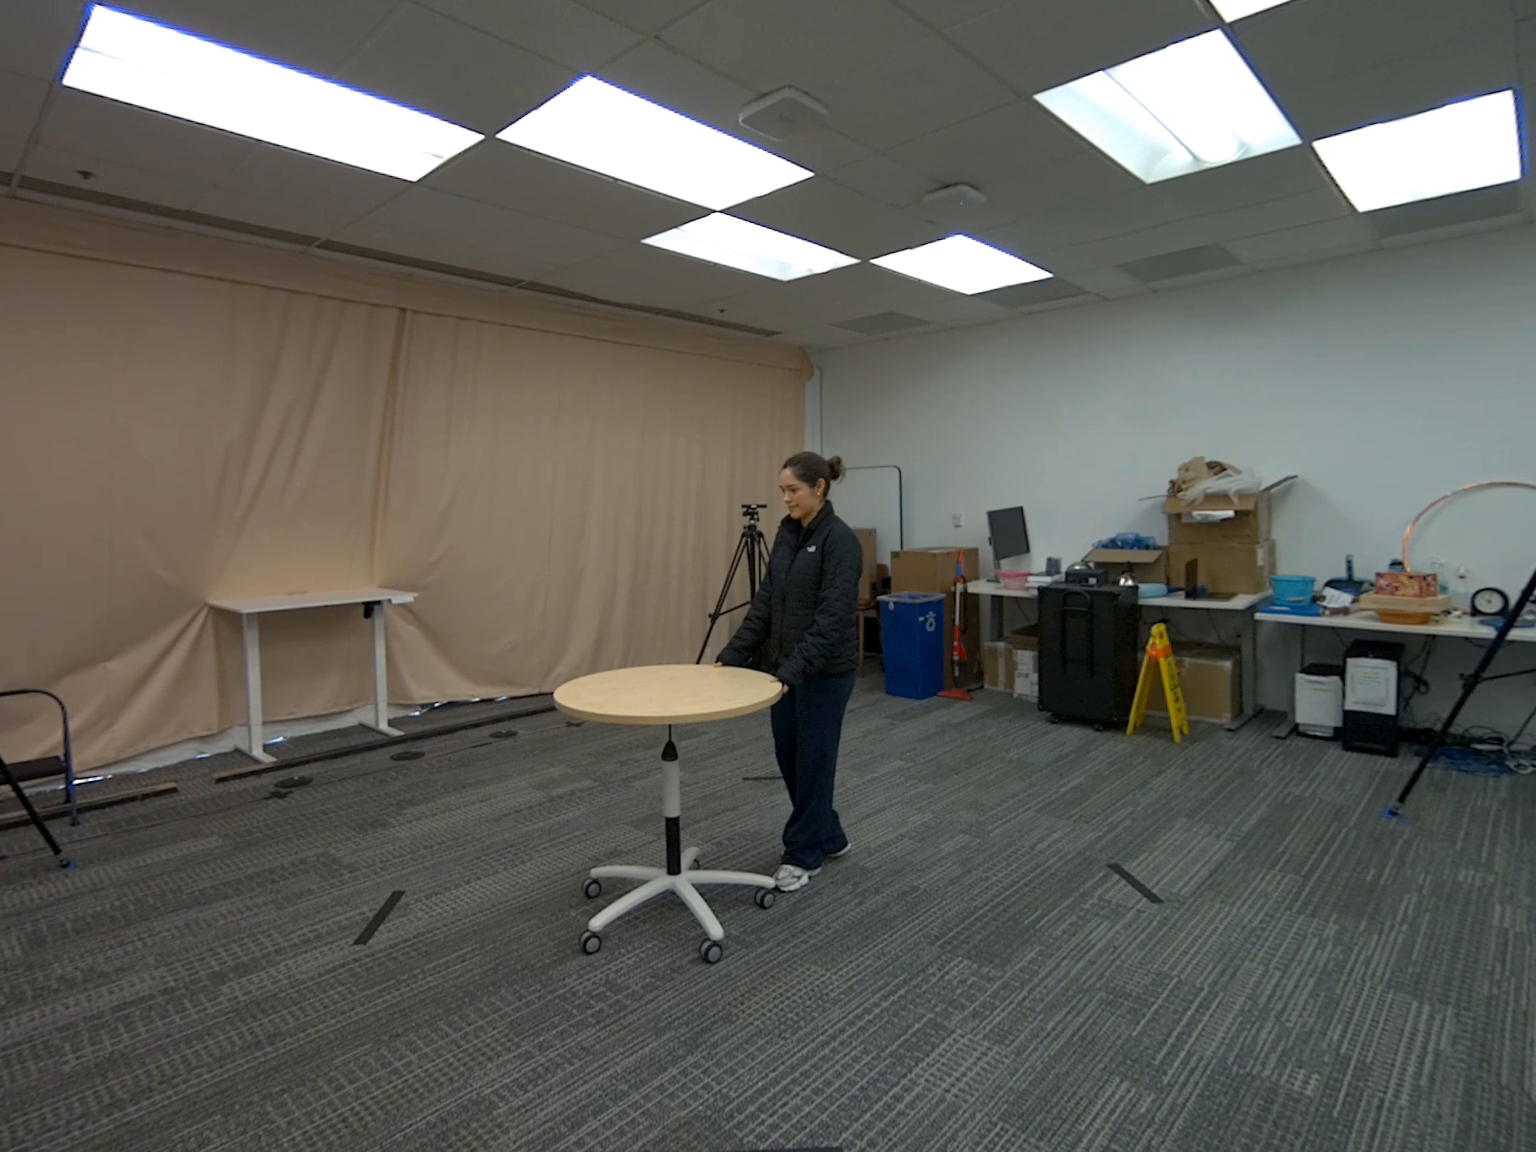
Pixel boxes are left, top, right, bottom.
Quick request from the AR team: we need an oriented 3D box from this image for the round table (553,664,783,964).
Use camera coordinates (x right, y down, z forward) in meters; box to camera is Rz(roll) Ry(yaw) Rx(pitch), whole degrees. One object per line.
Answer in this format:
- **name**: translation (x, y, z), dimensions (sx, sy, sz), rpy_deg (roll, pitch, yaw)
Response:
- **round table**: translation (-0.304, 0.764, 2.864), dimensions (0.784, 0.784, 0.788), rpy_deg (-2, 4, -2)
